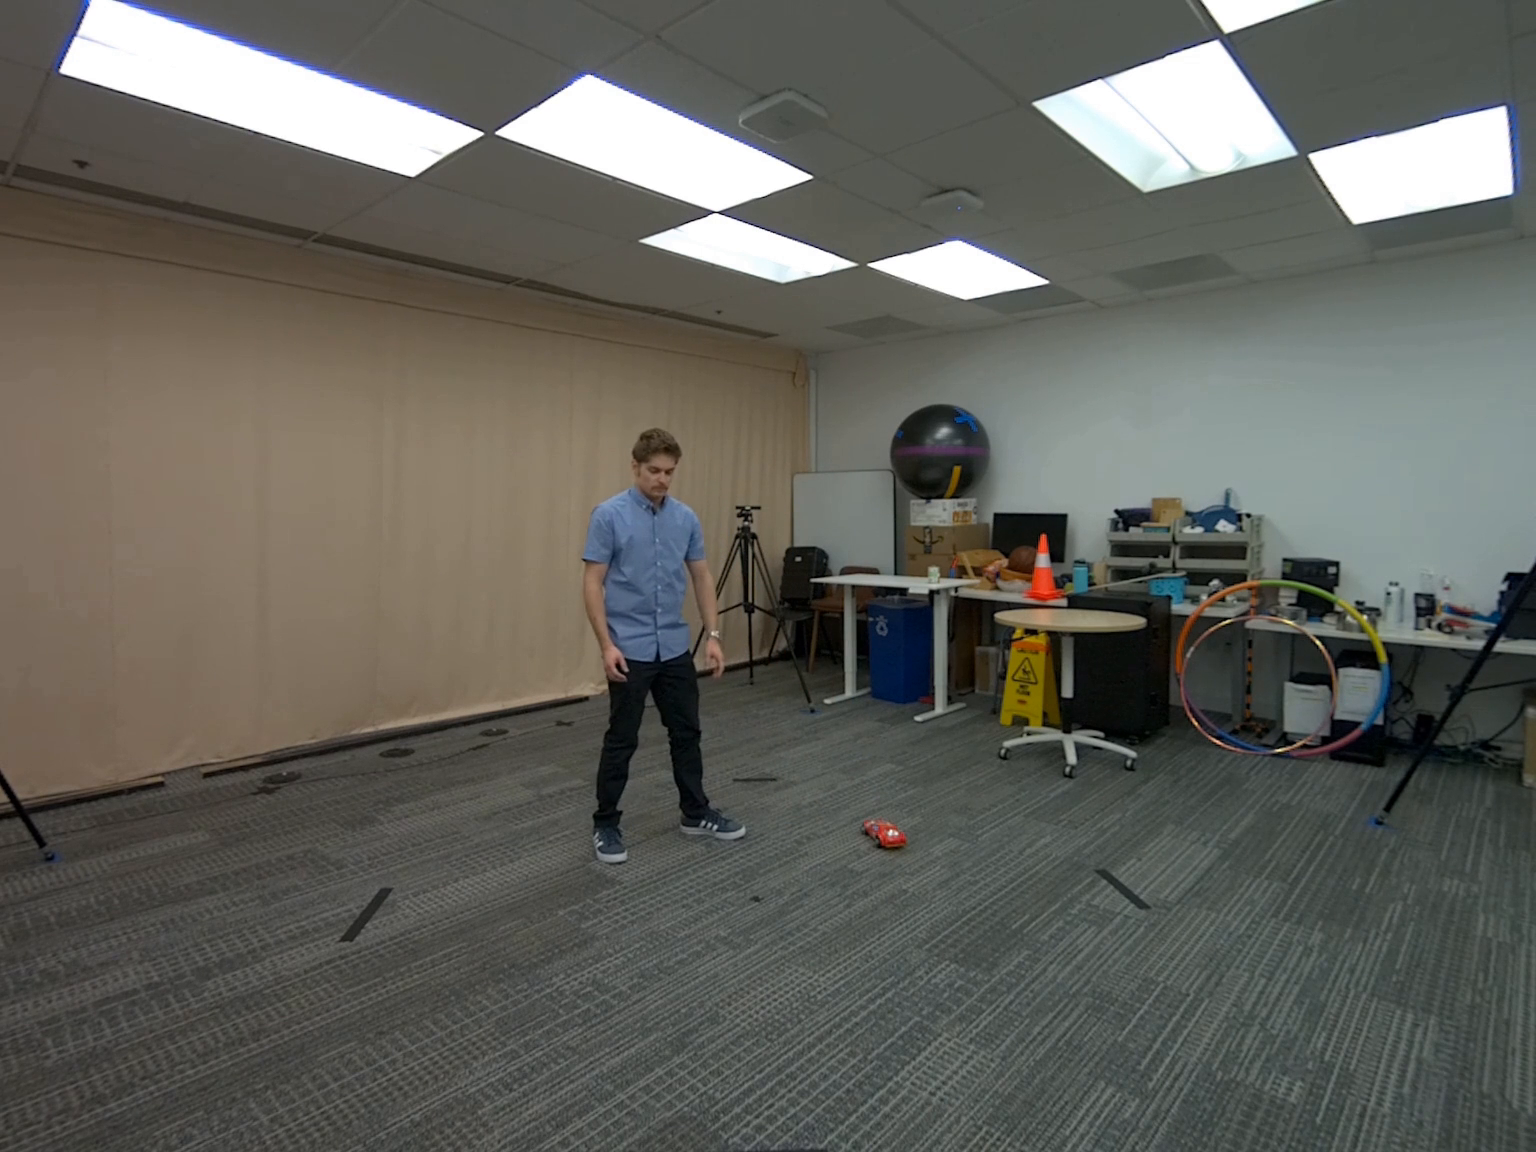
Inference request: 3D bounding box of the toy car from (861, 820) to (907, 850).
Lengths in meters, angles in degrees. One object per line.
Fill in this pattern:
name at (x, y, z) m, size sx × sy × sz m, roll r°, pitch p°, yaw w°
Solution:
toy car at (0.486, 1.067, 3.486) m, size 0.128 × 0.084 × 0.257 m, roll -1°, pitch -7°, yaw -14°
